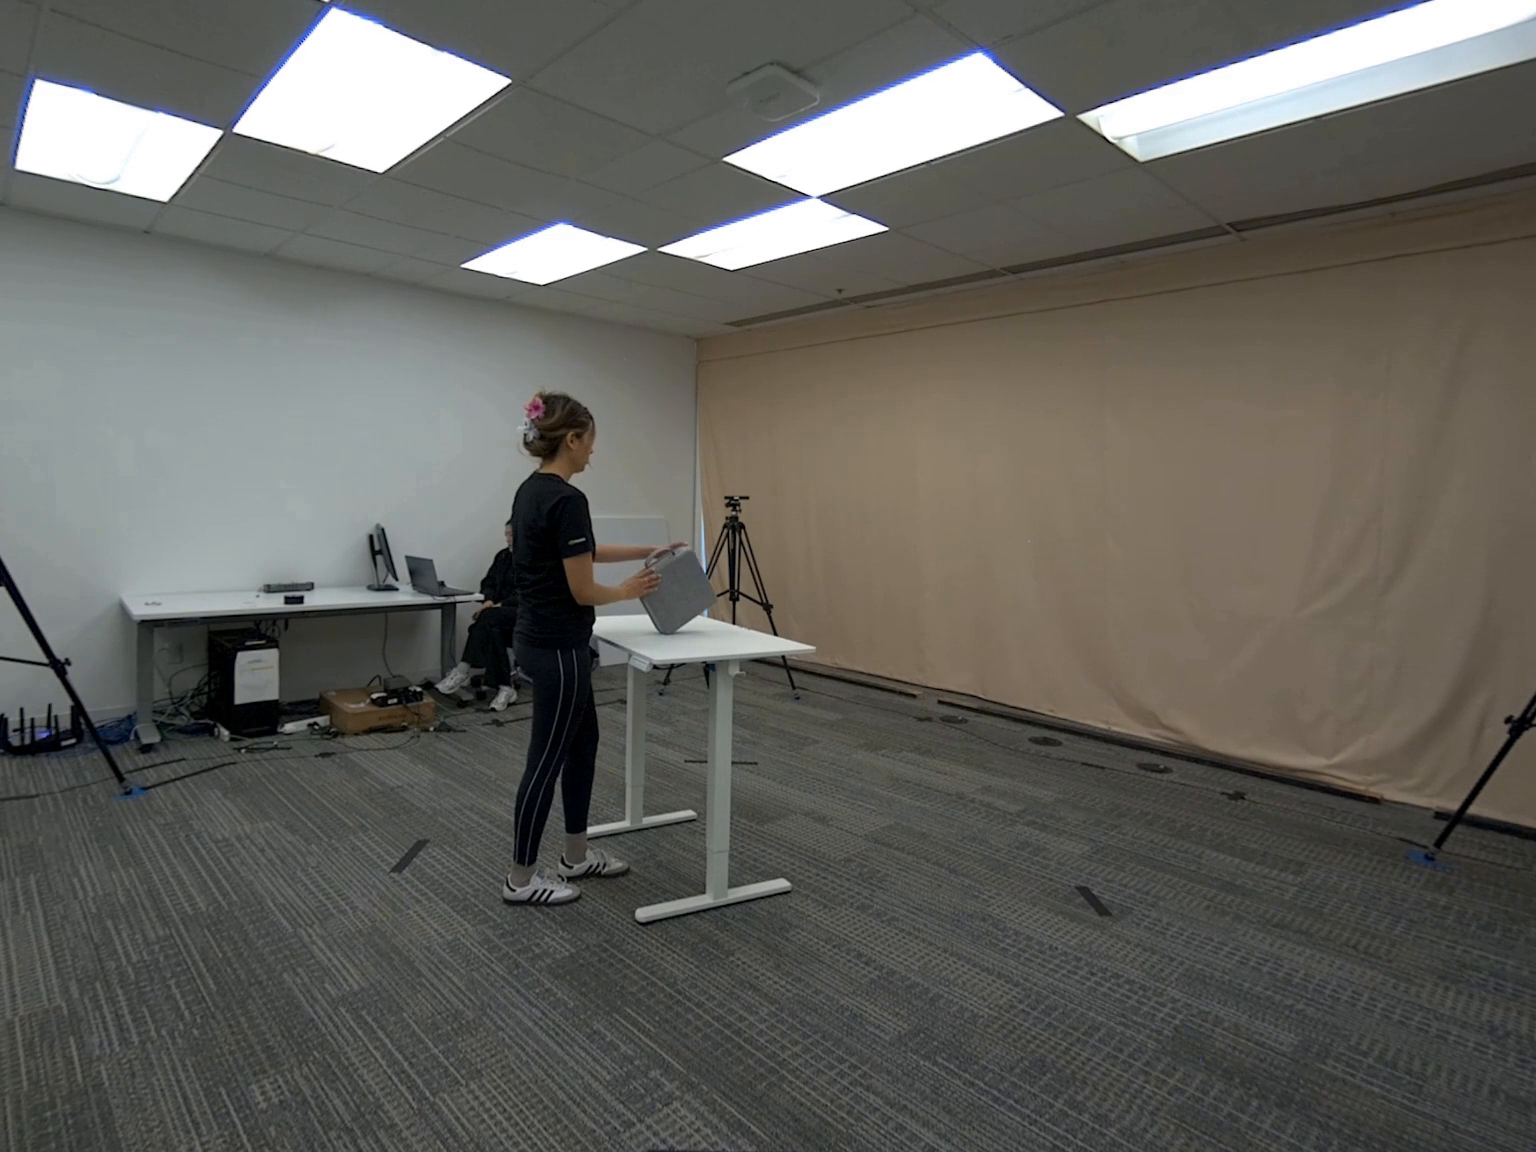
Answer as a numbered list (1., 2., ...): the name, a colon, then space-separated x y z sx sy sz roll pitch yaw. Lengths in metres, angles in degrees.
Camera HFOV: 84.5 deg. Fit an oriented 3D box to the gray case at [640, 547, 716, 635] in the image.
1. gray case: -0.348 0.052 3.118 0.256 0.256 0.106 -34 18 -16
